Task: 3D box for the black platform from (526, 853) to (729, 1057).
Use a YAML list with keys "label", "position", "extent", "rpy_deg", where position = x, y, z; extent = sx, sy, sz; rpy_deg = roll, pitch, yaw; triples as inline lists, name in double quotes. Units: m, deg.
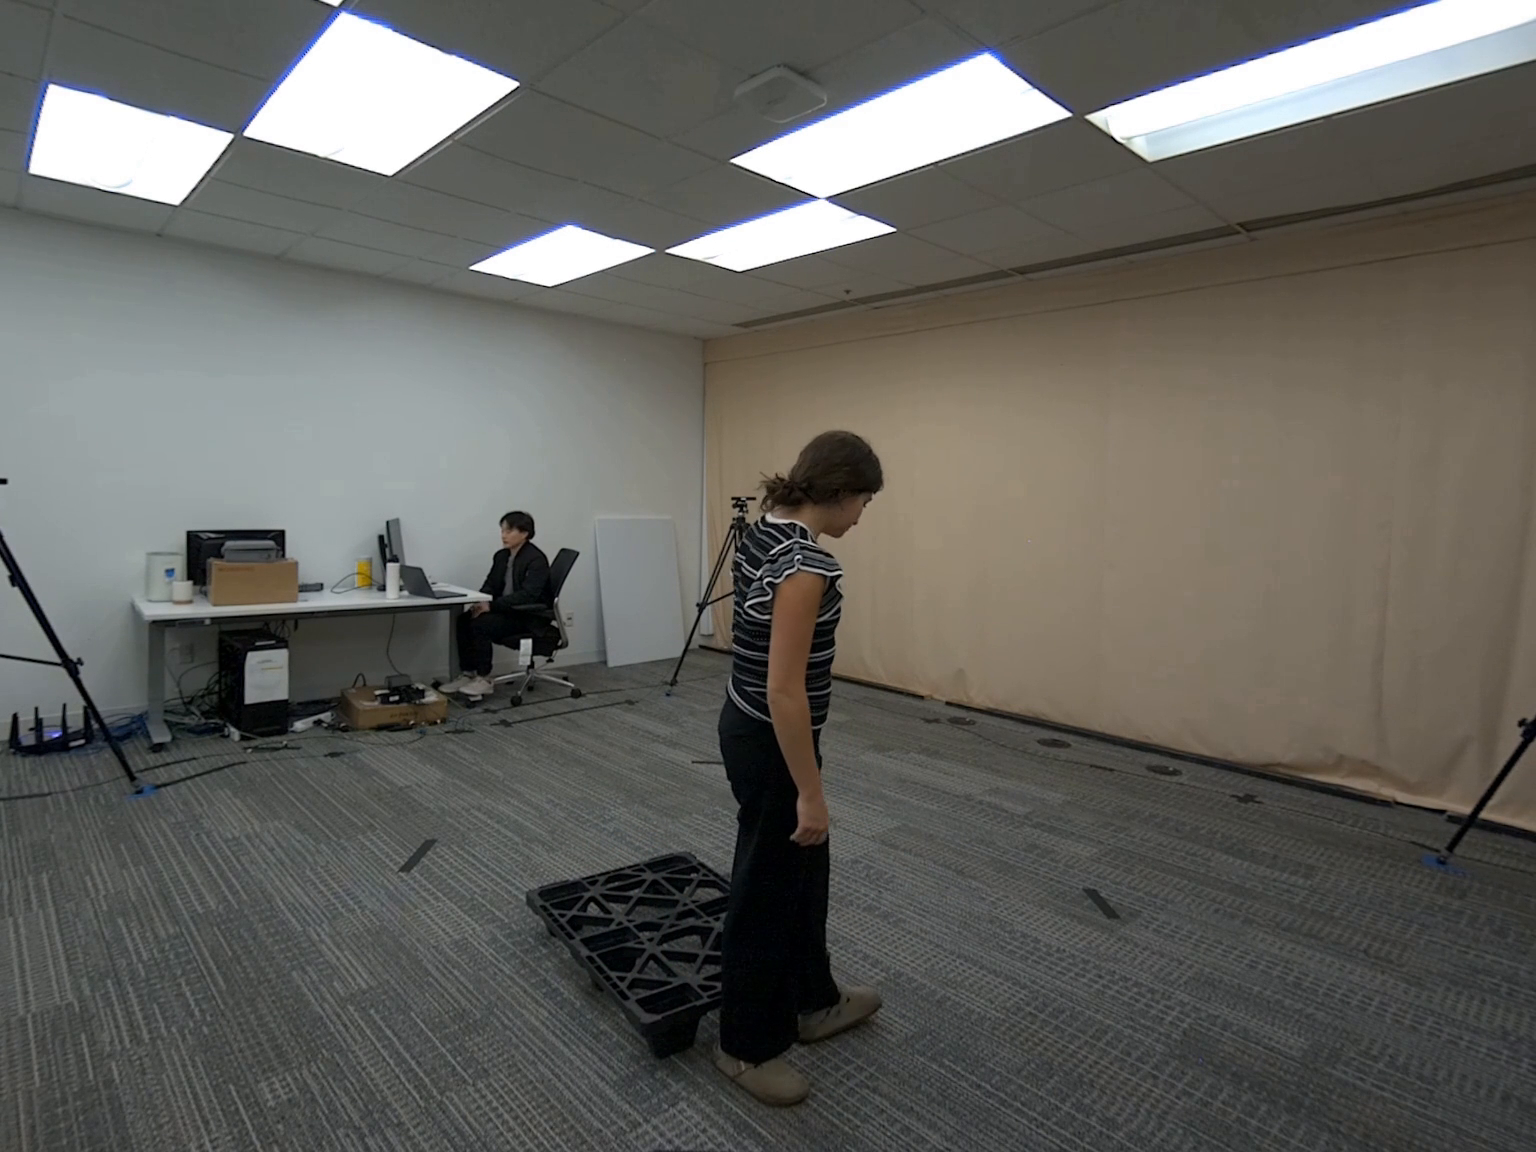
- label: "black platform"
  position: [-0.307, 1.093, 2.503]
  extent: [0.592, 0.143, 0.825]
  rpy_deg: [-4, 7, -35]
